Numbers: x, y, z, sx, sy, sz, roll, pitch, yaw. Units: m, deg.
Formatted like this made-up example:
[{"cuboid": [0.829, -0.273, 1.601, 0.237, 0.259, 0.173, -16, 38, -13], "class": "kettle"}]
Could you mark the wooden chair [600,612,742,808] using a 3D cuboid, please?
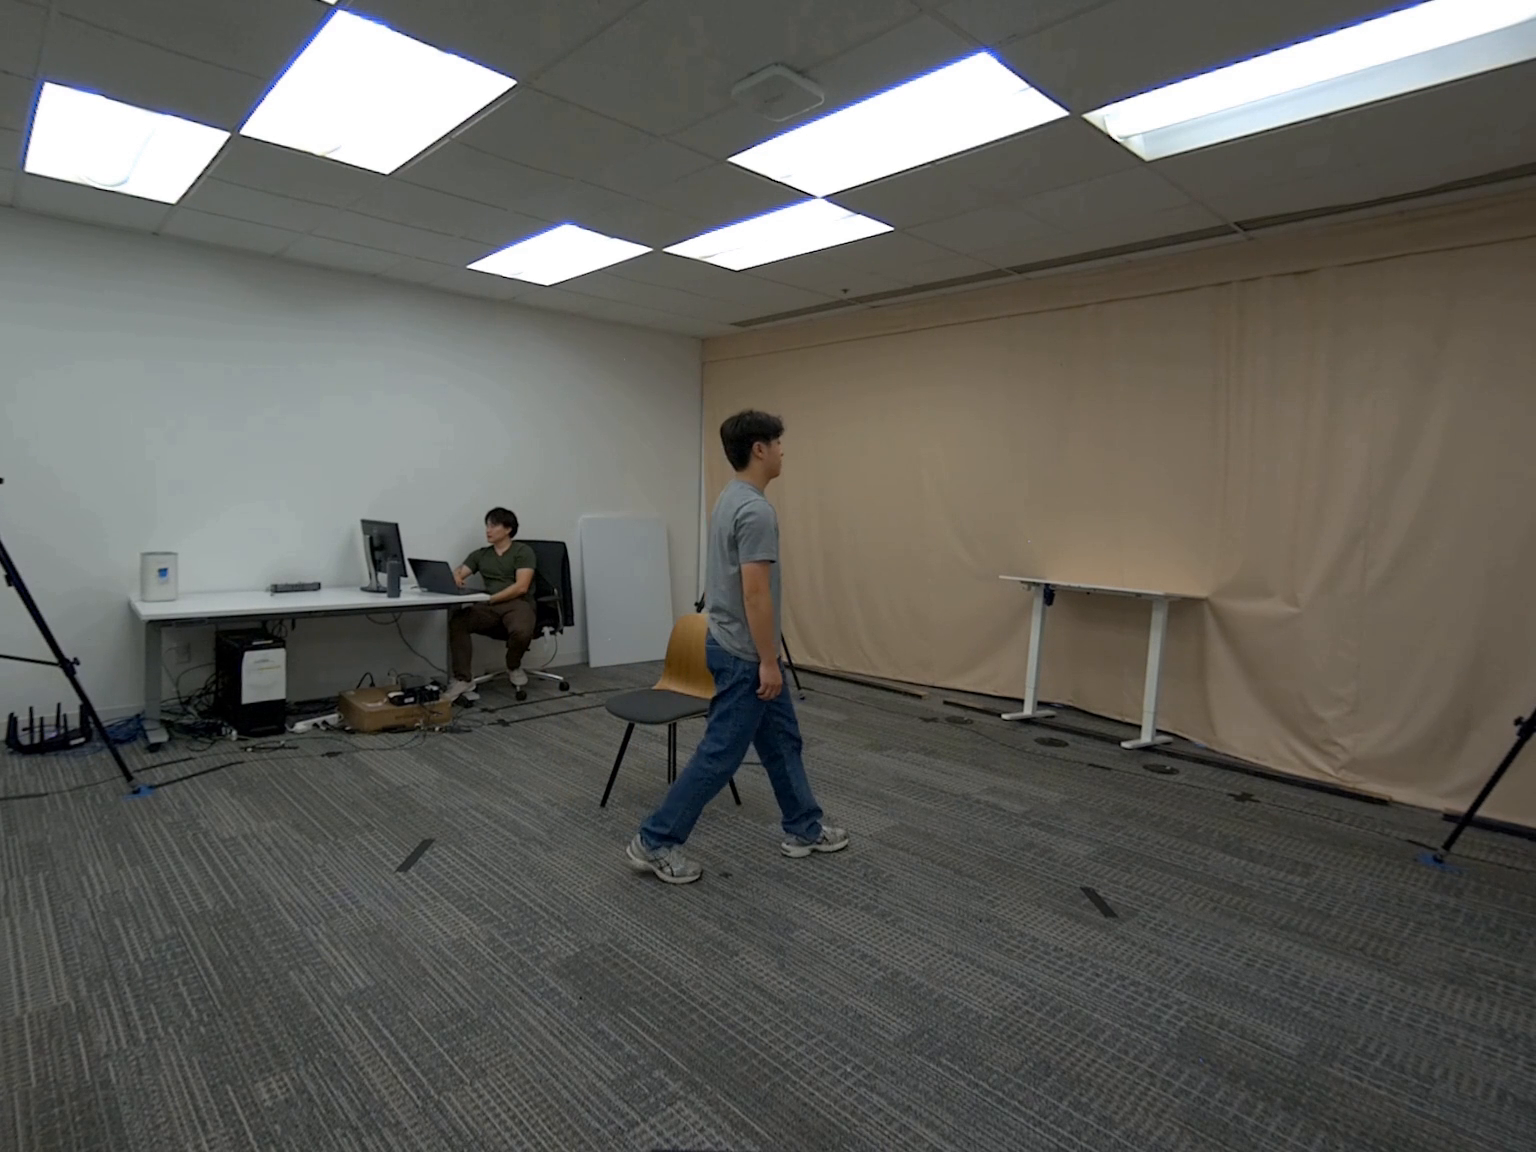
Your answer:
[{"cuboid": [-0.437, 0.611, 3.761, 0.490, 0.877, 0.510, 4, 0, 38], "class": "wooden chair"}]
